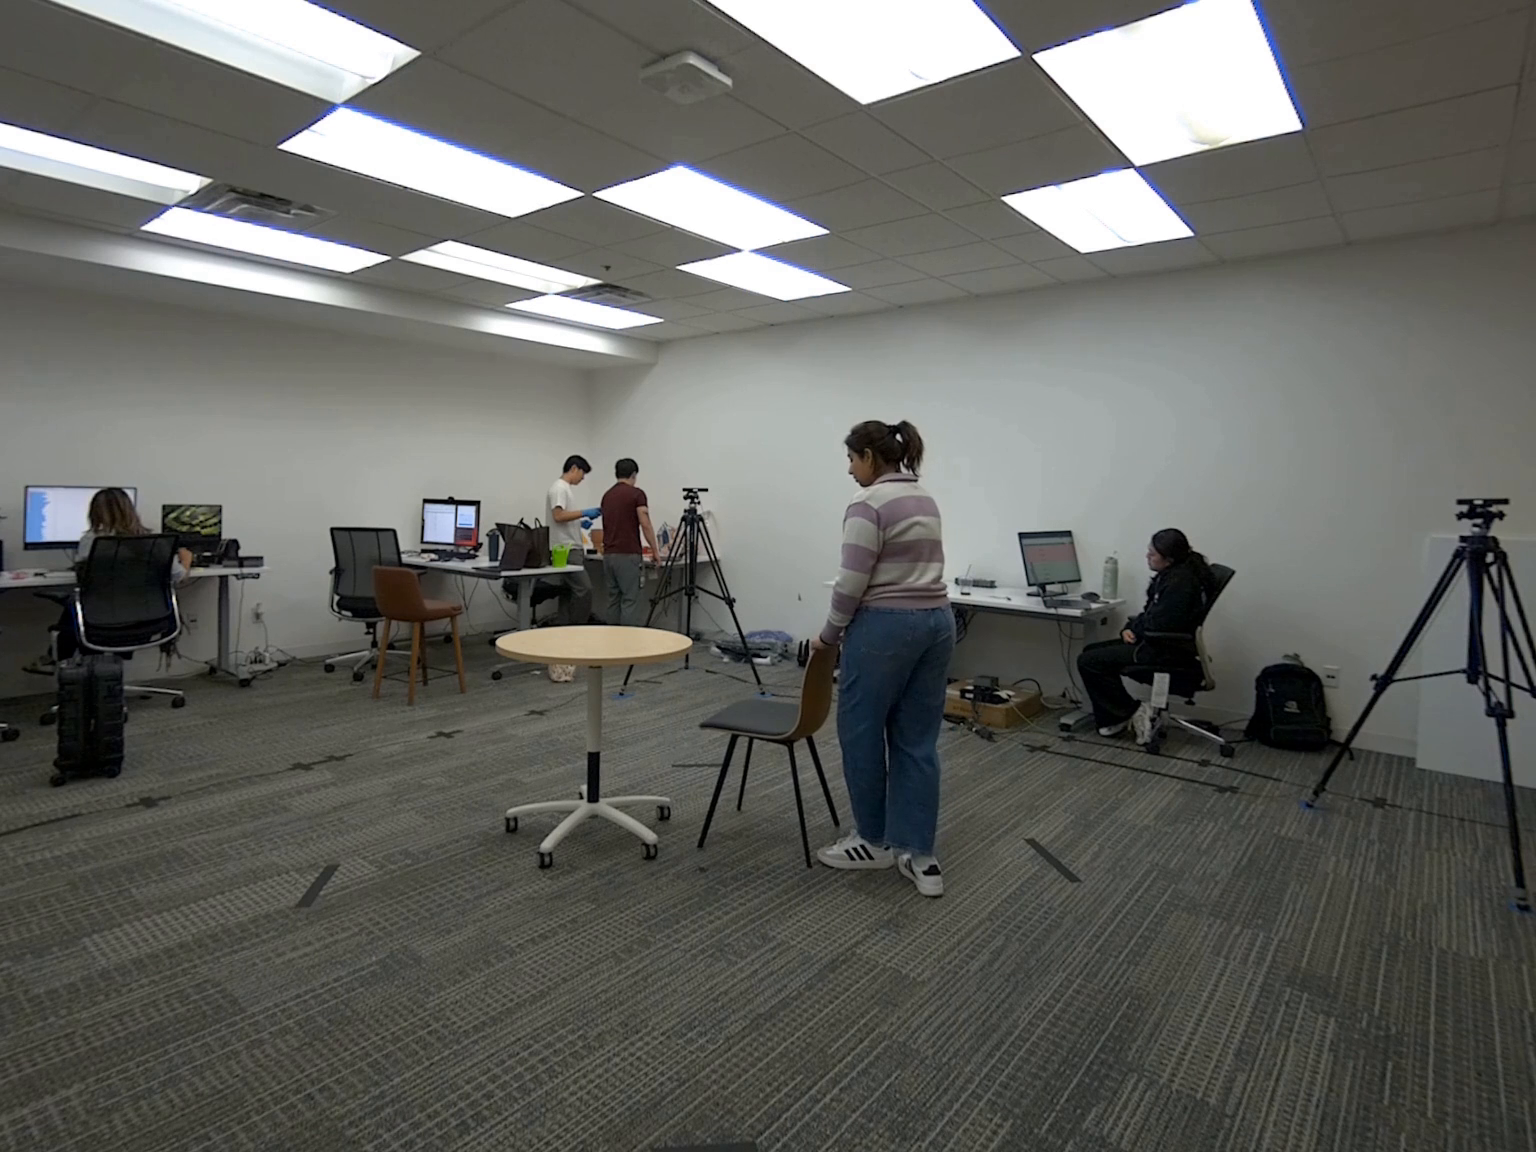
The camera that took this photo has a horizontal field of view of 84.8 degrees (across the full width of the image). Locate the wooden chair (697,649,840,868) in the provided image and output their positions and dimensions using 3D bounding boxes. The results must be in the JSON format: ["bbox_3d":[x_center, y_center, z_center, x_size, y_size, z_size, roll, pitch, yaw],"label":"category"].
[{"bbox_3d":[0.002,0.617,3.393,0.535,0.874,0.469,7,5,20],"label":"wooden chair"}]
